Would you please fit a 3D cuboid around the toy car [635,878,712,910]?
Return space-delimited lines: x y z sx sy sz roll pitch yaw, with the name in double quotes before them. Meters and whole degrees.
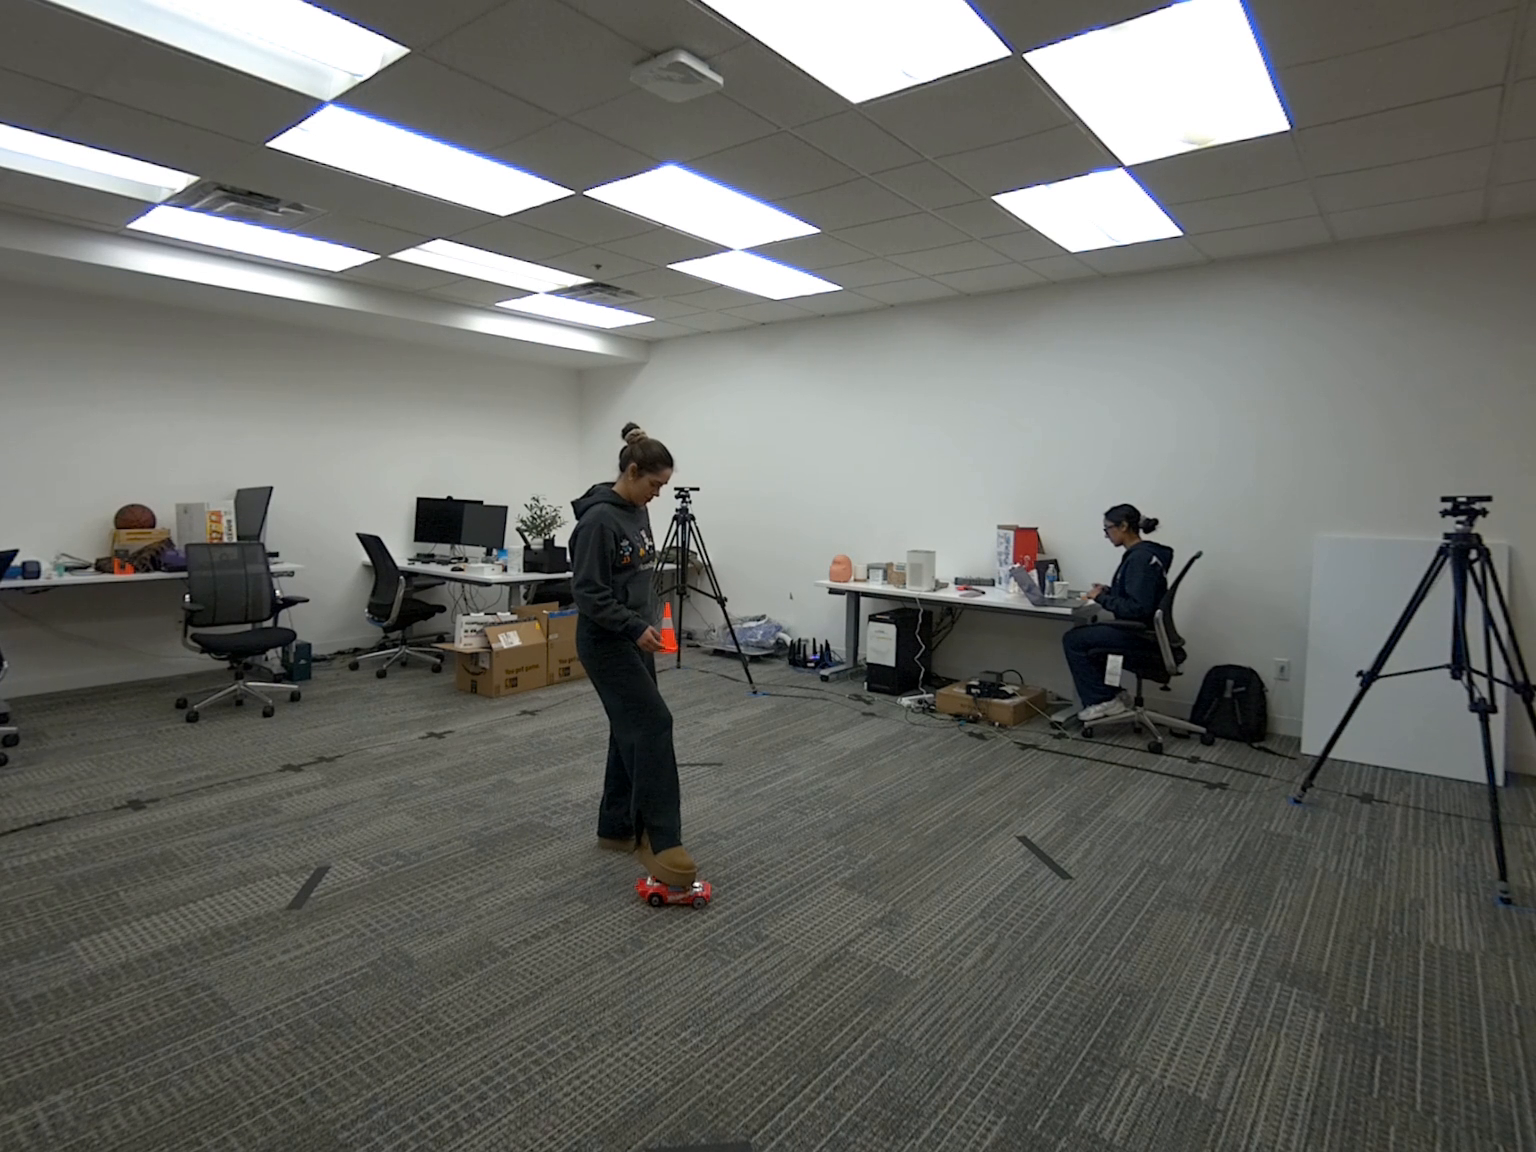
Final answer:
"toy car" -0.325 1.061 2.862 0.255 0.083 0.130 12 4 2
